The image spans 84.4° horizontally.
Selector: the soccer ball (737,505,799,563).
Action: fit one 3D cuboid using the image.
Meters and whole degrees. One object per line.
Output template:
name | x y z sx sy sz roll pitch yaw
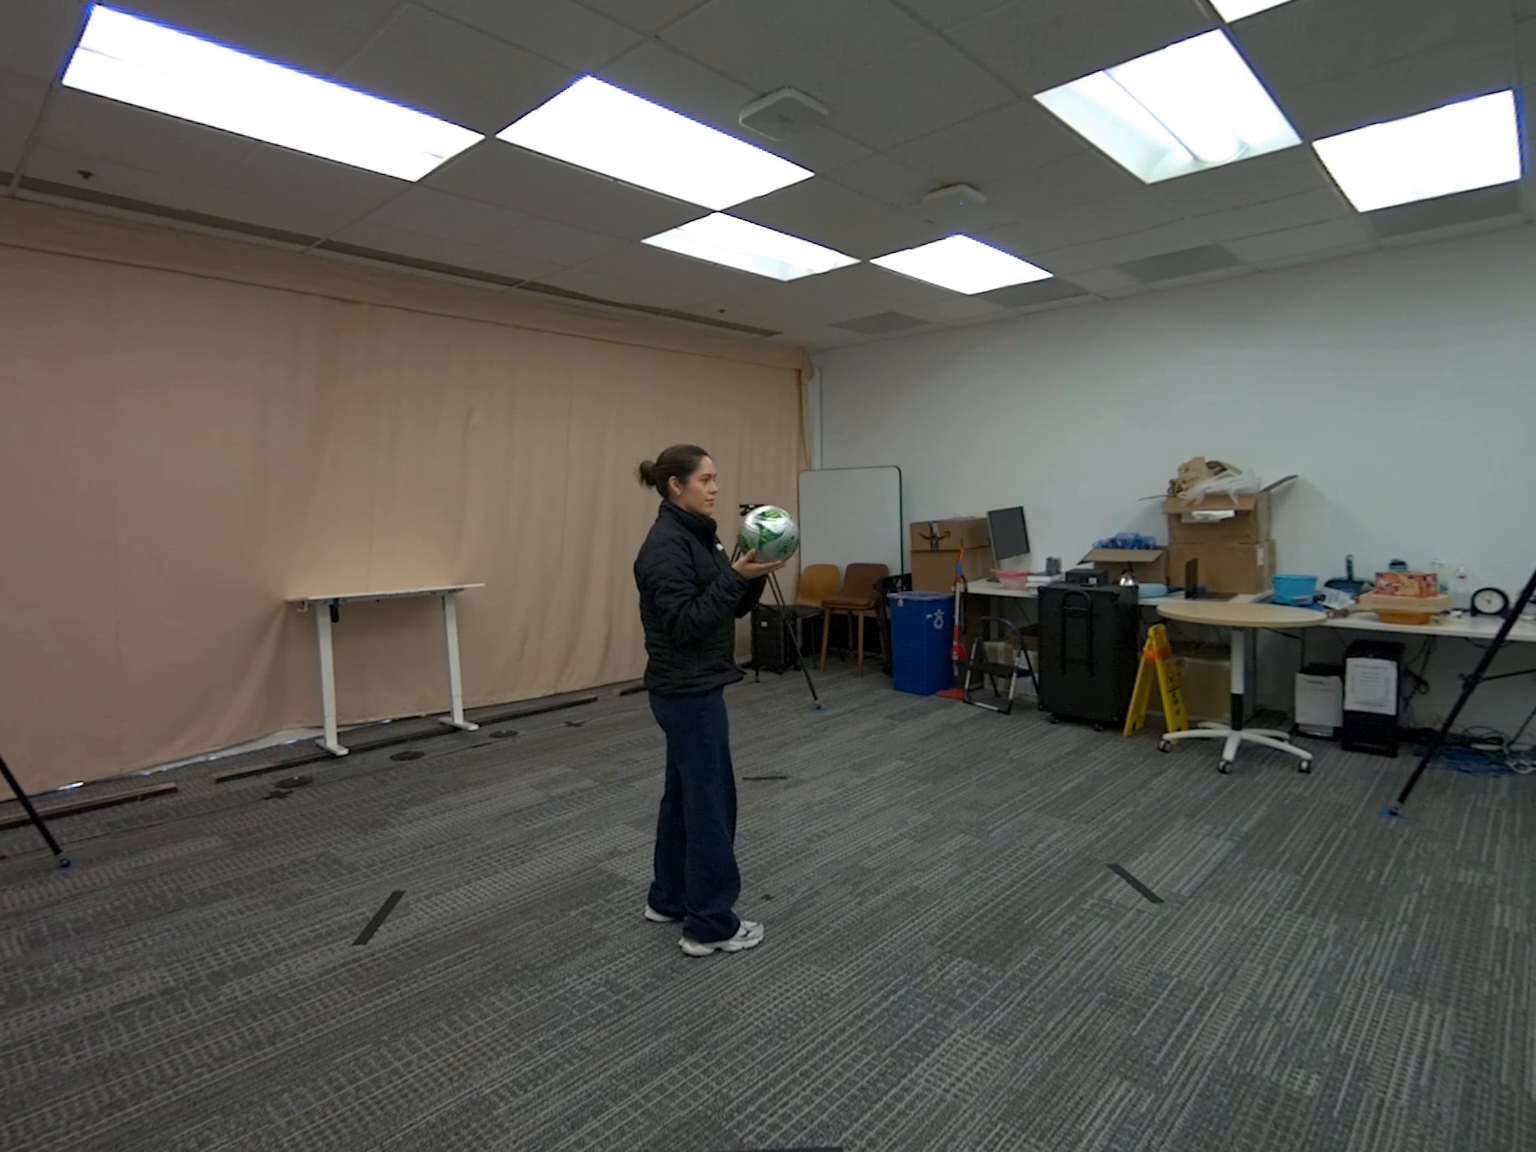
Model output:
soccer ball | 0.004 -0.124 2.546 0.187 0.187 0.188 -1 4 -2
